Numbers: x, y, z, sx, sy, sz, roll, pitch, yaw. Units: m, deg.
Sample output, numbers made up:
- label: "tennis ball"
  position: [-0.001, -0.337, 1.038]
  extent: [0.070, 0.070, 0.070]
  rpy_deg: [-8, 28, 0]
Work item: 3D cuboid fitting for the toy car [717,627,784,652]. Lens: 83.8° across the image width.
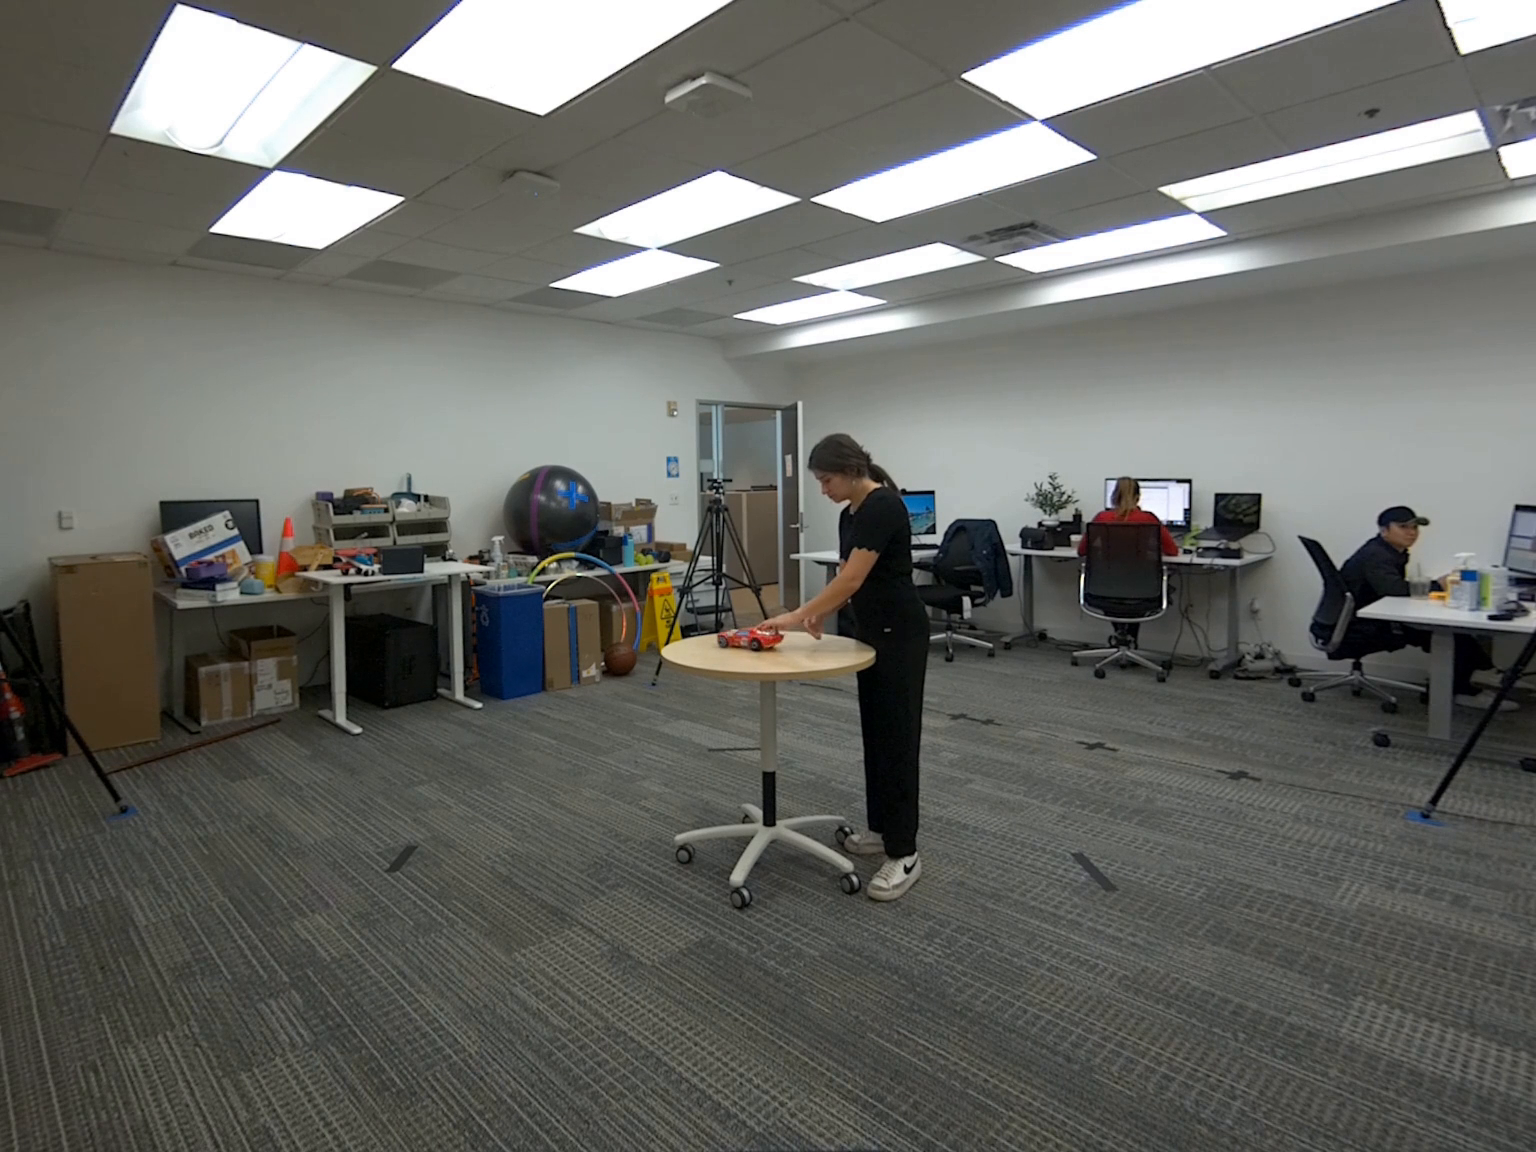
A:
- label: "toy car"
  position: [-0.055, 0.230, 3.100]
  extent: [0.260, 0.083, 0.127]
  rpy_deg: [-10, -1, 35]
